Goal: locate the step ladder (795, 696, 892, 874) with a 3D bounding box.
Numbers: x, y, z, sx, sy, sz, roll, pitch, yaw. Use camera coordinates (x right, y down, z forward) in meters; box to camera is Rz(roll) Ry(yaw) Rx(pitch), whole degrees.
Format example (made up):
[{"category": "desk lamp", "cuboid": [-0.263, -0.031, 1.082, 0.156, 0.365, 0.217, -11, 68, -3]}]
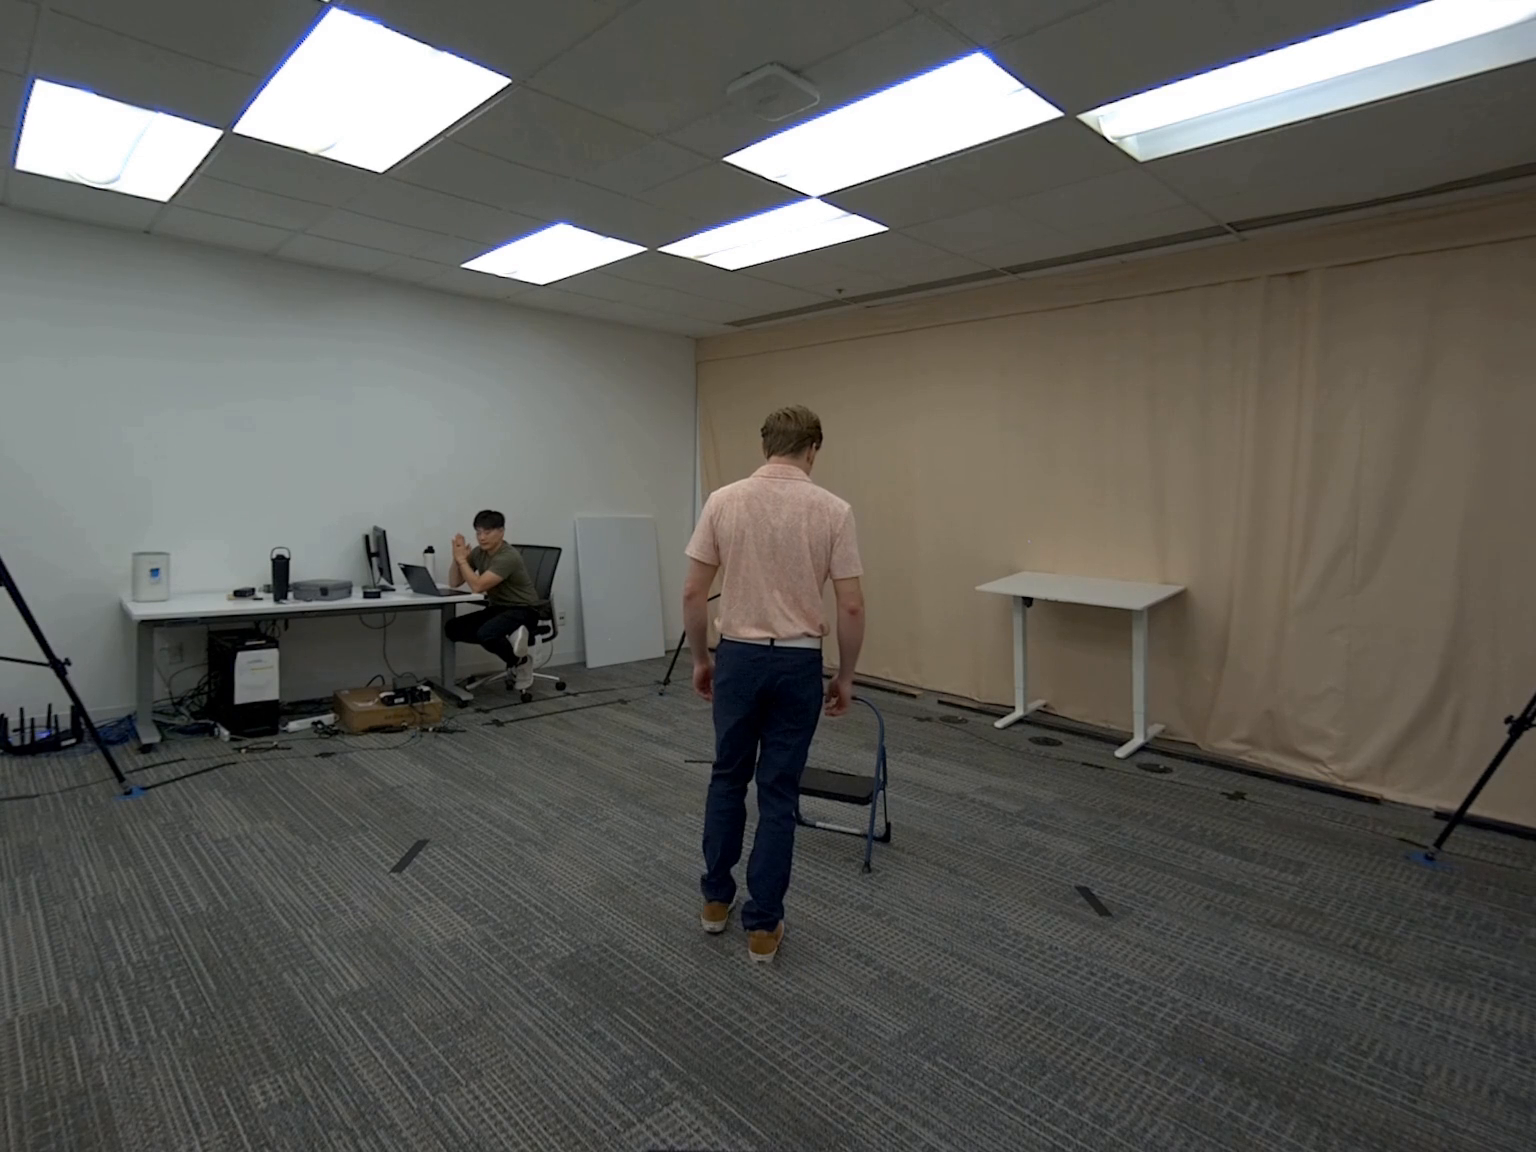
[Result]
[{"category": "step ladder", "cuboid": [0.254, 0.788, 3.380, 0.439, 0.605, 0.343, 3, 4, 24]}]
